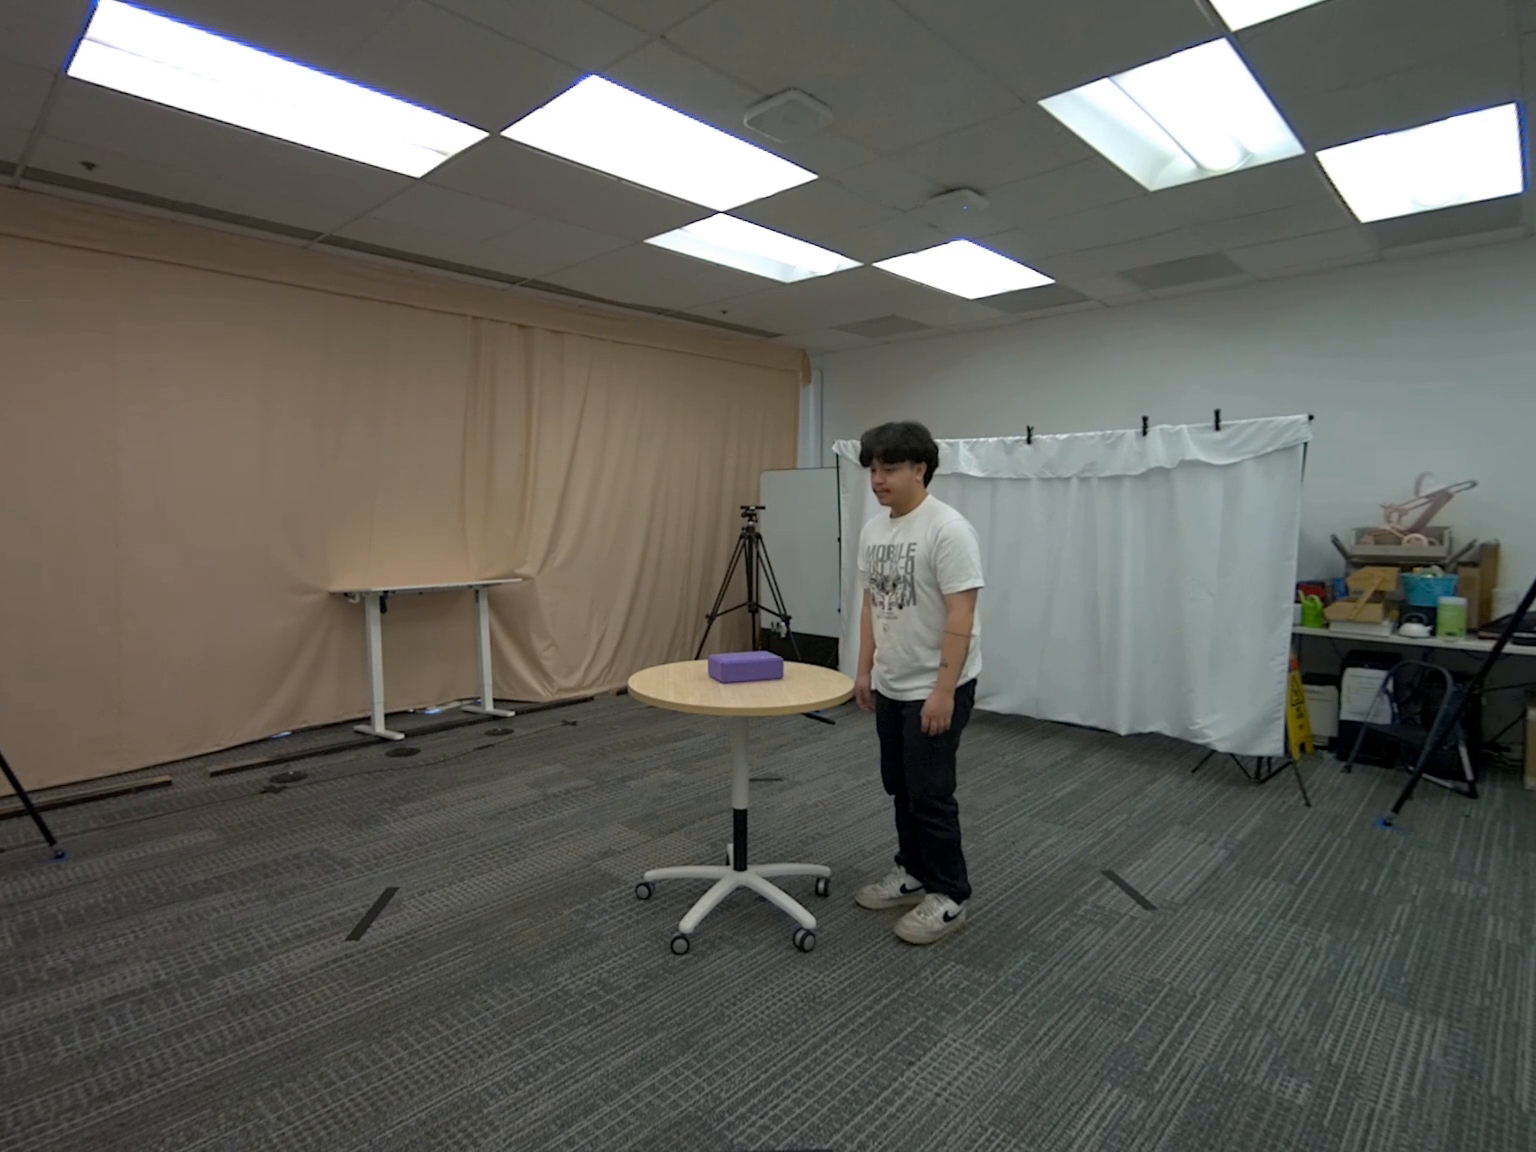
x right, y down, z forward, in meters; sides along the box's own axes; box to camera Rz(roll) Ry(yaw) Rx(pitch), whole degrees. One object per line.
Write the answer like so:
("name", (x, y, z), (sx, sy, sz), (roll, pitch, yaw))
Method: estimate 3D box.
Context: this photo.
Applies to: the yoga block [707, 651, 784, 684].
("yoga block", (-0.075, 0.317, 2.910), (0.225, 0.076, 0.152), (-1, 6, -21))
